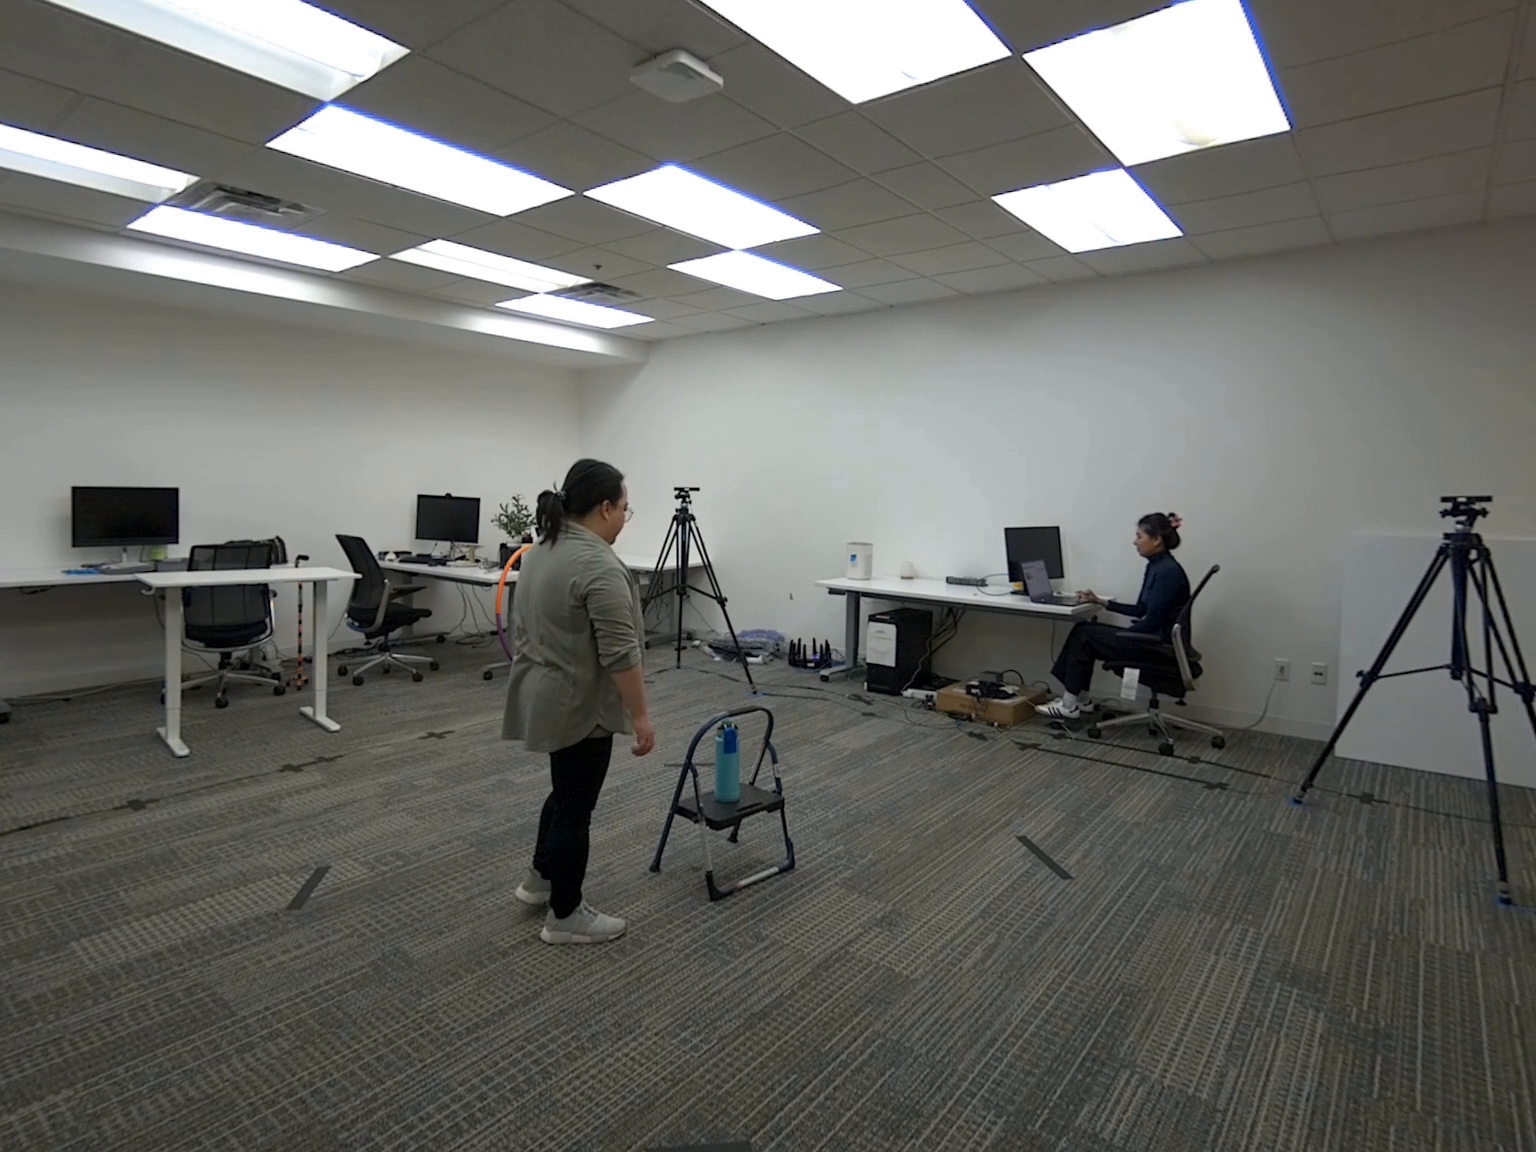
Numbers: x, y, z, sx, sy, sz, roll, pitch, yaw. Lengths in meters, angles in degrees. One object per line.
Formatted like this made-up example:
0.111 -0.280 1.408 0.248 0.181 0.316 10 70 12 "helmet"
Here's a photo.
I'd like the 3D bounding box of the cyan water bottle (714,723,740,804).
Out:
-0.150 0.668 3.097 0.092 0.283 0.092 1 2 -2 "cyan water bottle"
